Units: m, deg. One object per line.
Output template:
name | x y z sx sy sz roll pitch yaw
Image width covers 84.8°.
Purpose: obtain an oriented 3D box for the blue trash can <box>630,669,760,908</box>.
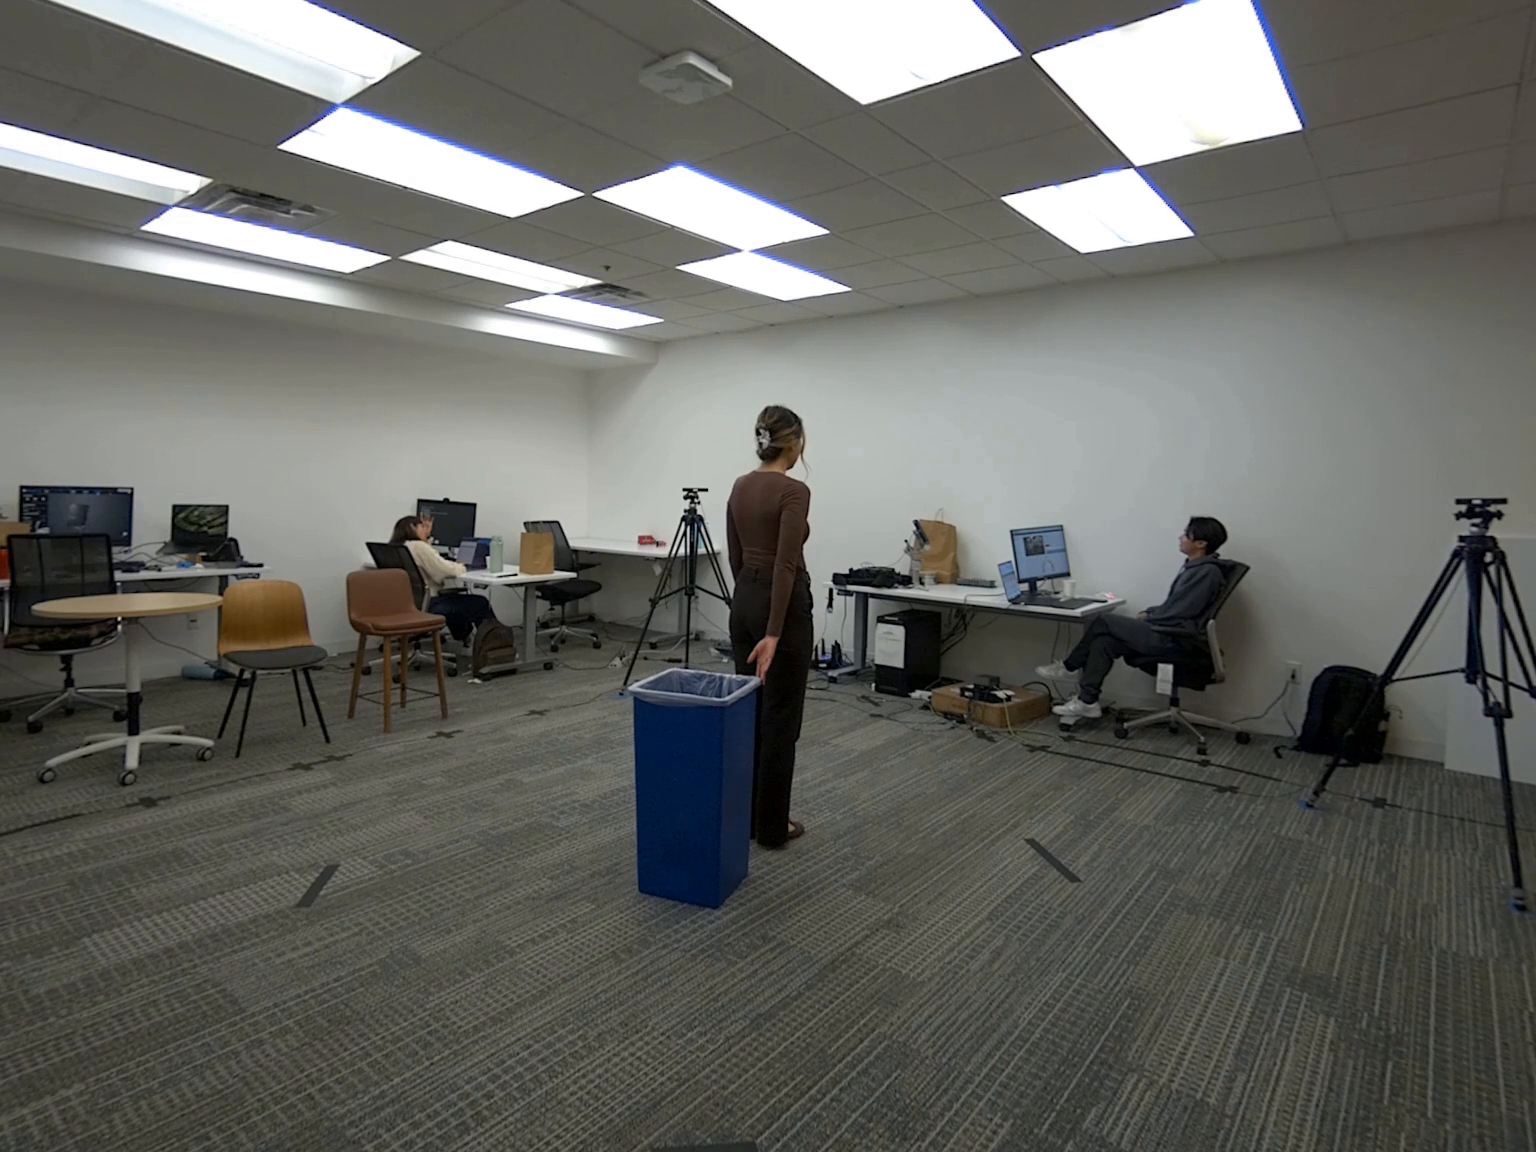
blue trash can | -0.261 0.721 2.985 0.382 0.712 0.371 1 3 20
